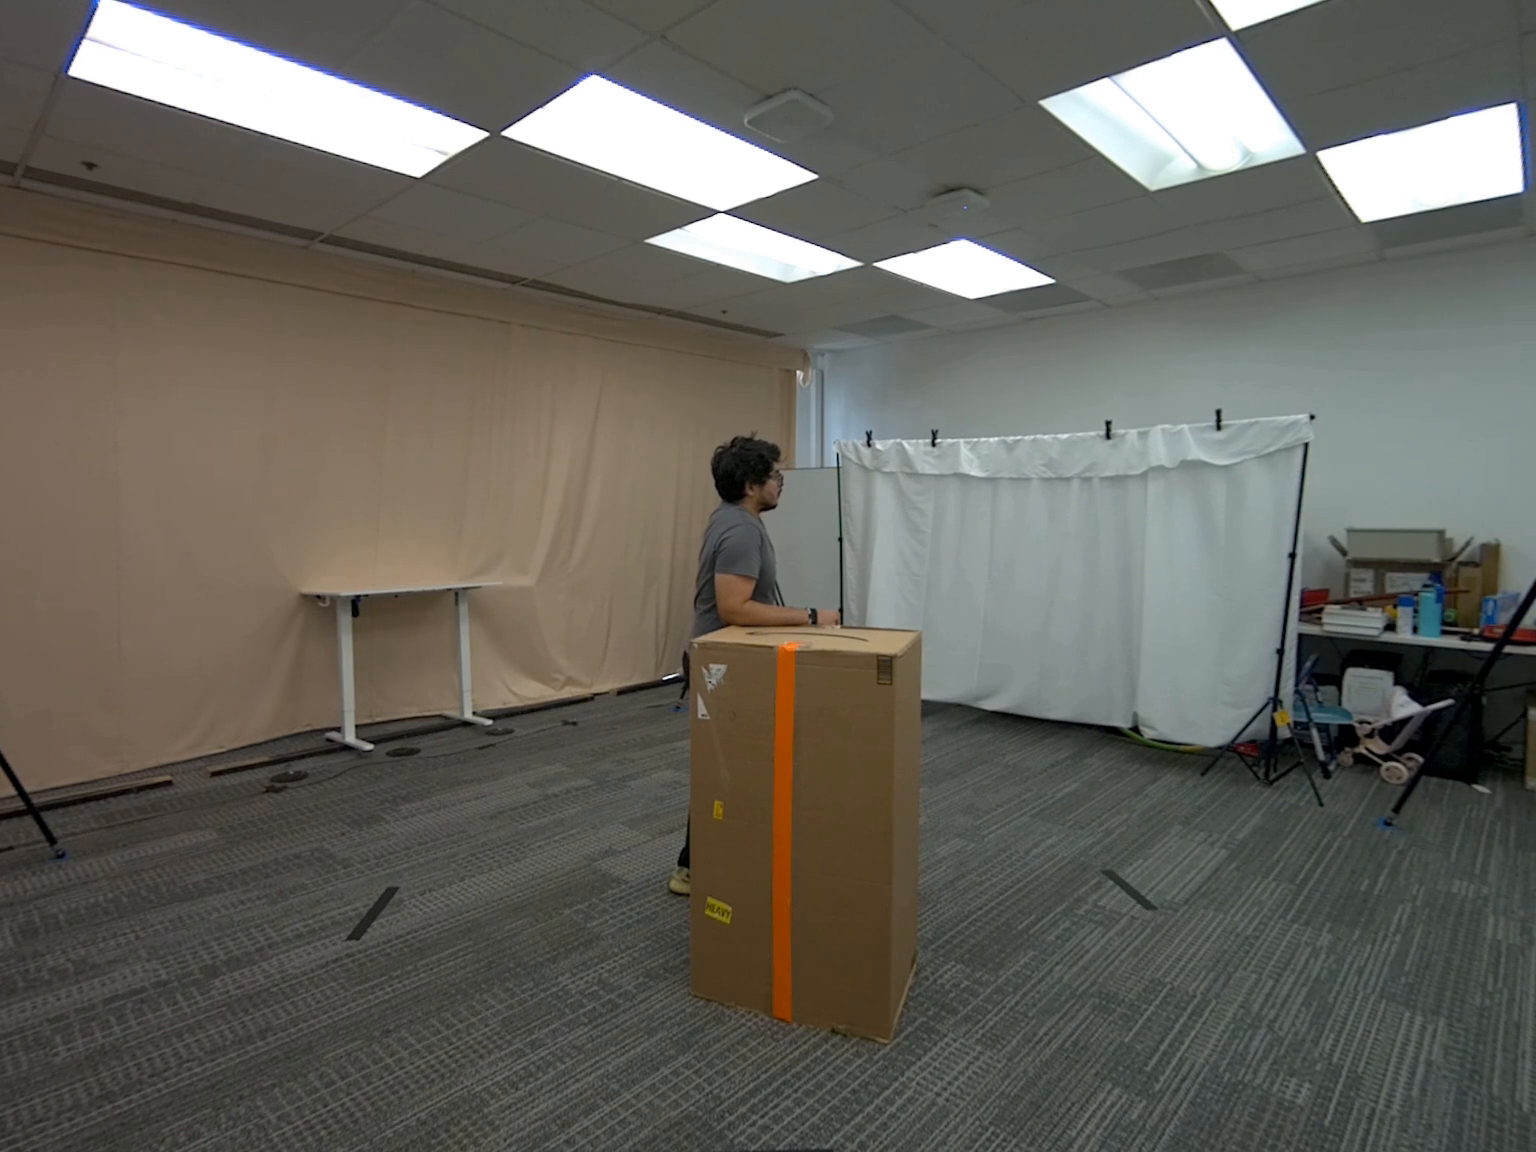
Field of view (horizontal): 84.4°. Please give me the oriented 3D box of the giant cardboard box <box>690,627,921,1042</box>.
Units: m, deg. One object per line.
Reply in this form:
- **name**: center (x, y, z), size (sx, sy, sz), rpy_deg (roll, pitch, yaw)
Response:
- **giant cardboard box**: center (0.124, 0.682, 2.451), size (0.592, 1.024, 0.416), rpy_deg (1, 3, 24)
